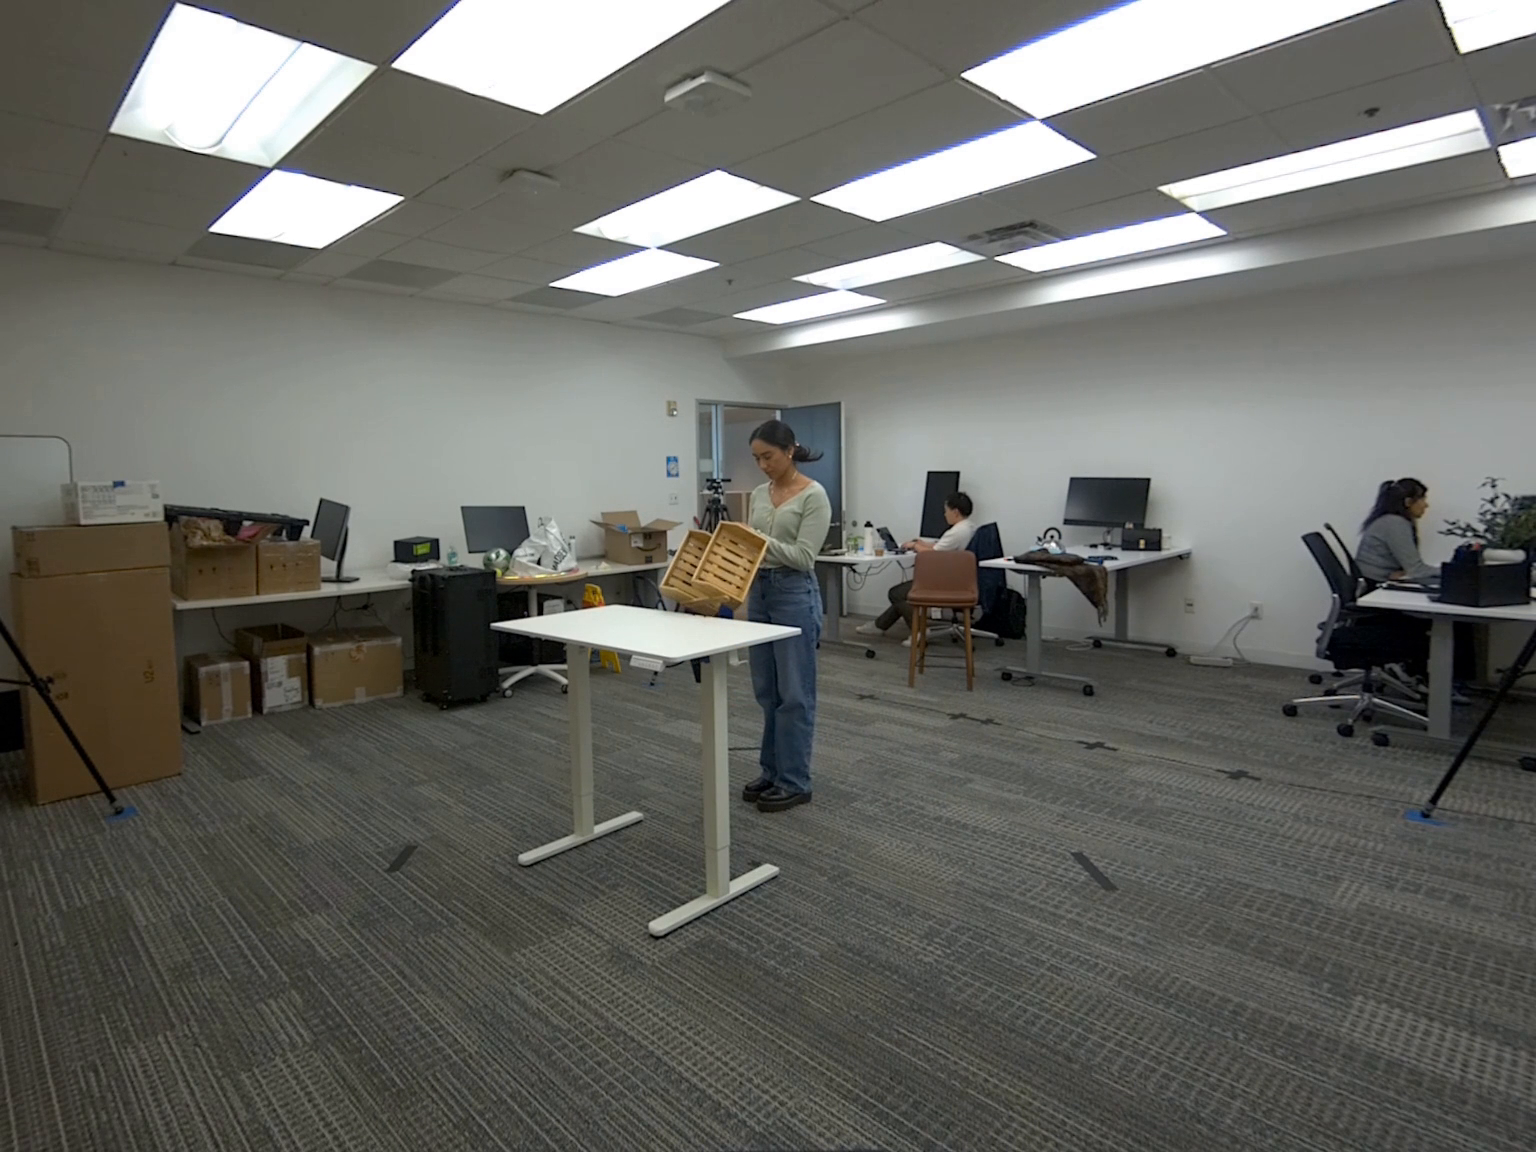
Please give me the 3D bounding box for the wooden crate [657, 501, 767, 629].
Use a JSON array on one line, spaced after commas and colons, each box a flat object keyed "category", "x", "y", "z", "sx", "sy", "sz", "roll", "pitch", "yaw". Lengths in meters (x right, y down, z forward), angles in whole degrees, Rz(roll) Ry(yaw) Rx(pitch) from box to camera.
[{"category": "wooden crate", "x": -0.212, "y": -0.041, "z": 3.406, "sx": 0.300, "sy": 0.328, "sz": 0.272, "roll": 26, "pitch": -31, "yaw": -7}]
